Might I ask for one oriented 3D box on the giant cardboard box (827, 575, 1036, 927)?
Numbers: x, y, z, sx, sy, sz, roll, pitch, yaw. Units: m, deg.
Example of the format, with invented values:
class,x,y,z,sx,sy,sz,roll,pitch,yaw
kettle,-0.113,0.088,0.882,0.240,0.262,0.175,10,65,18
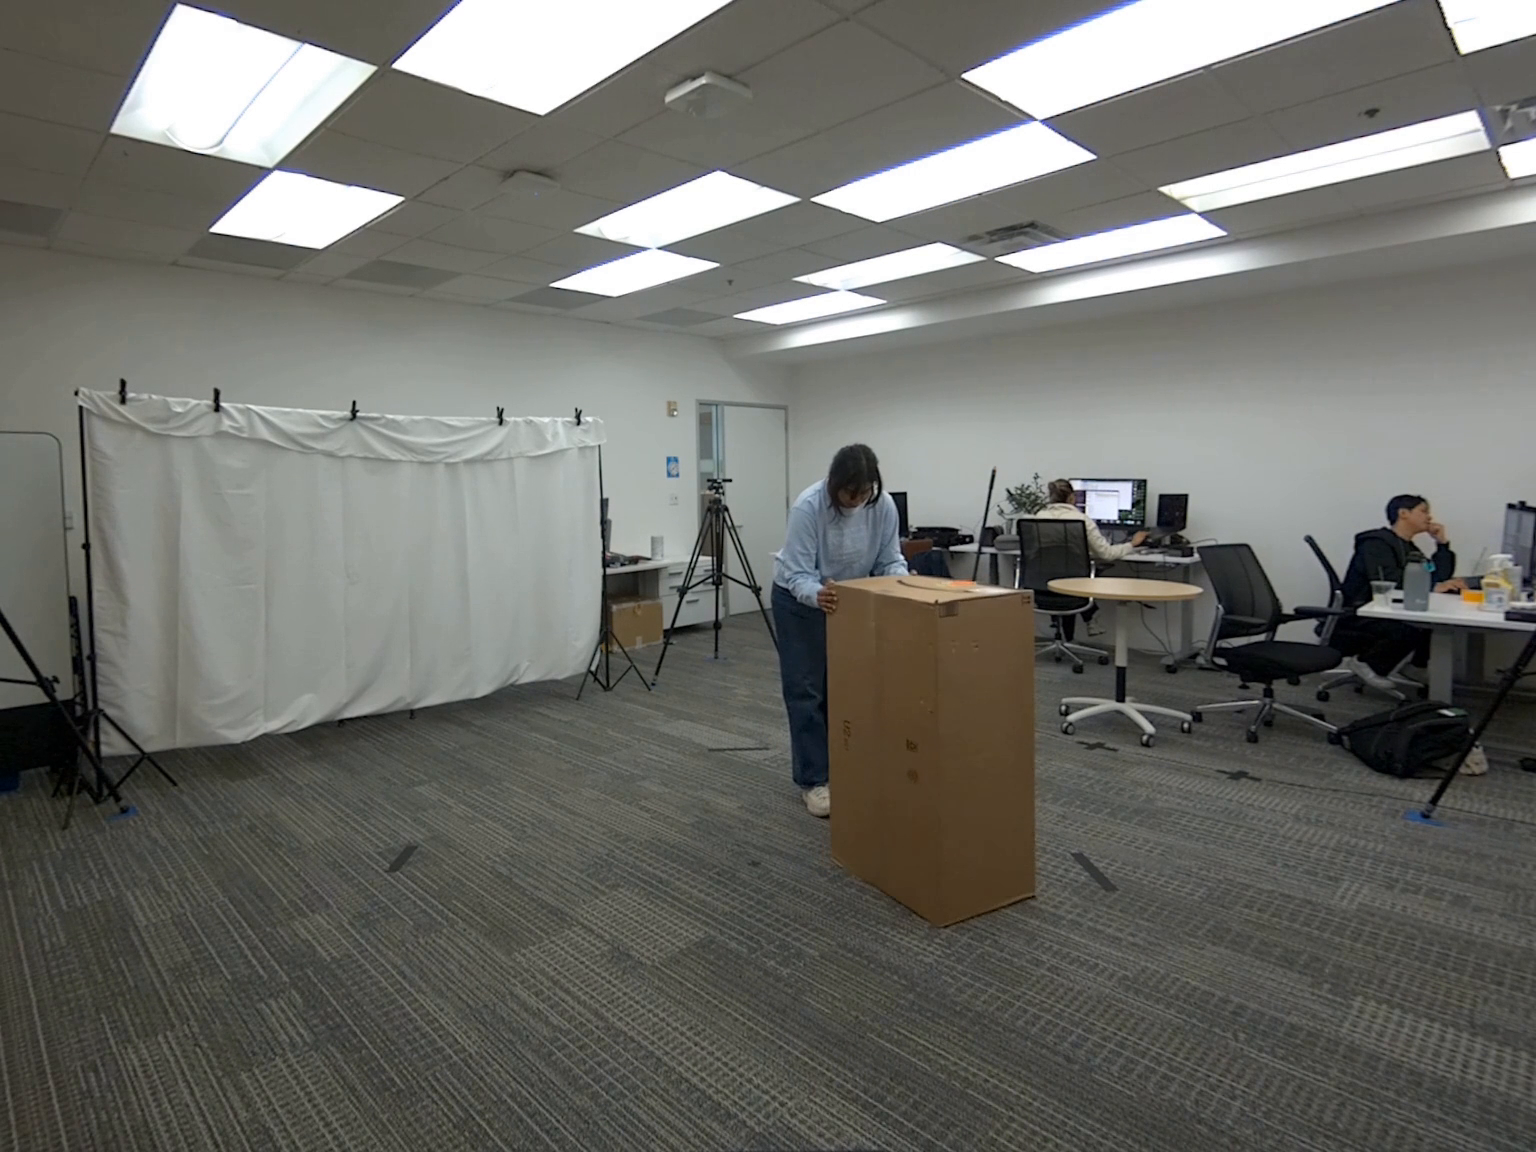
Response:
class,x,y,z,sx,sy,sz,roll,pitch,yaw
giant cardboard box,0.551,0.547,2.948,0.416,1.021,0.594,-4,5,-31
